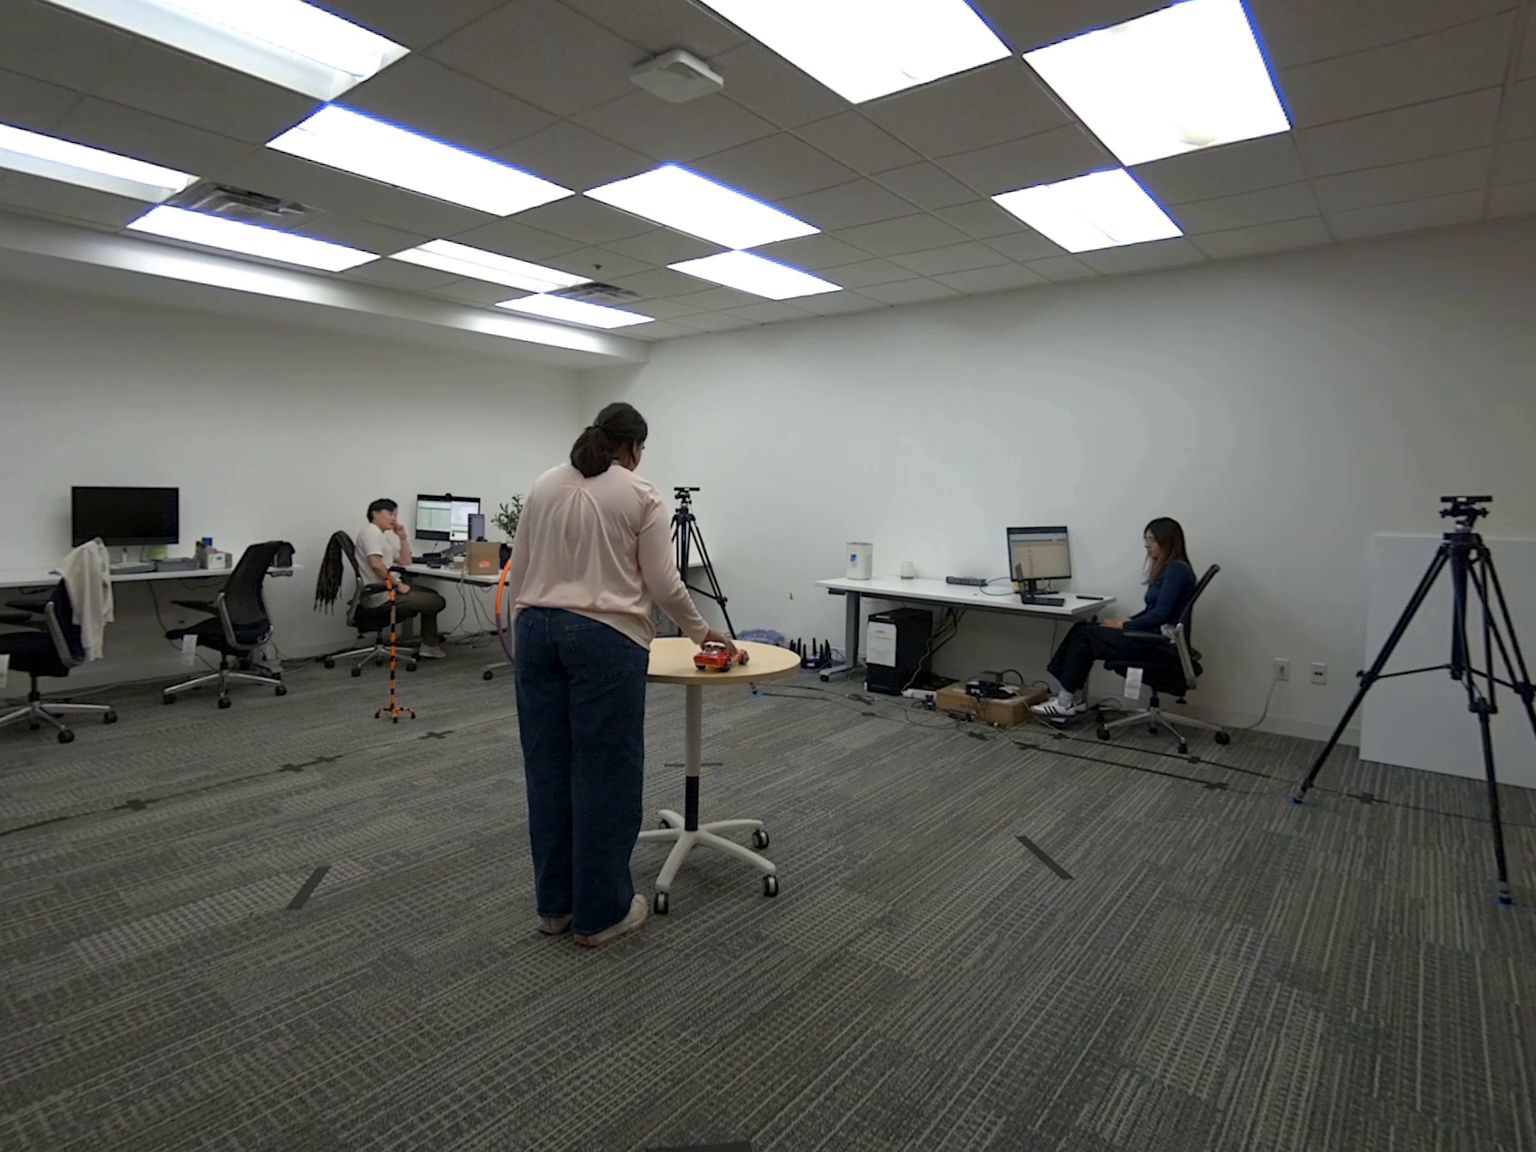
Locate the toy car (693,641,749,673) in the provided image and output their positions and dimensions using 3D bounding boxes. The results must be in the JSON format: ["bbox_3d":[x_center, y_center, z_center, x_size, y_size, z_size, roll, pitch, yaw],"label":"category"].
[{"bbox_3d":[-0.172,0.273,2.867,0.133,0.084,0.247,3,-6,23],"label":"toy car"}]
